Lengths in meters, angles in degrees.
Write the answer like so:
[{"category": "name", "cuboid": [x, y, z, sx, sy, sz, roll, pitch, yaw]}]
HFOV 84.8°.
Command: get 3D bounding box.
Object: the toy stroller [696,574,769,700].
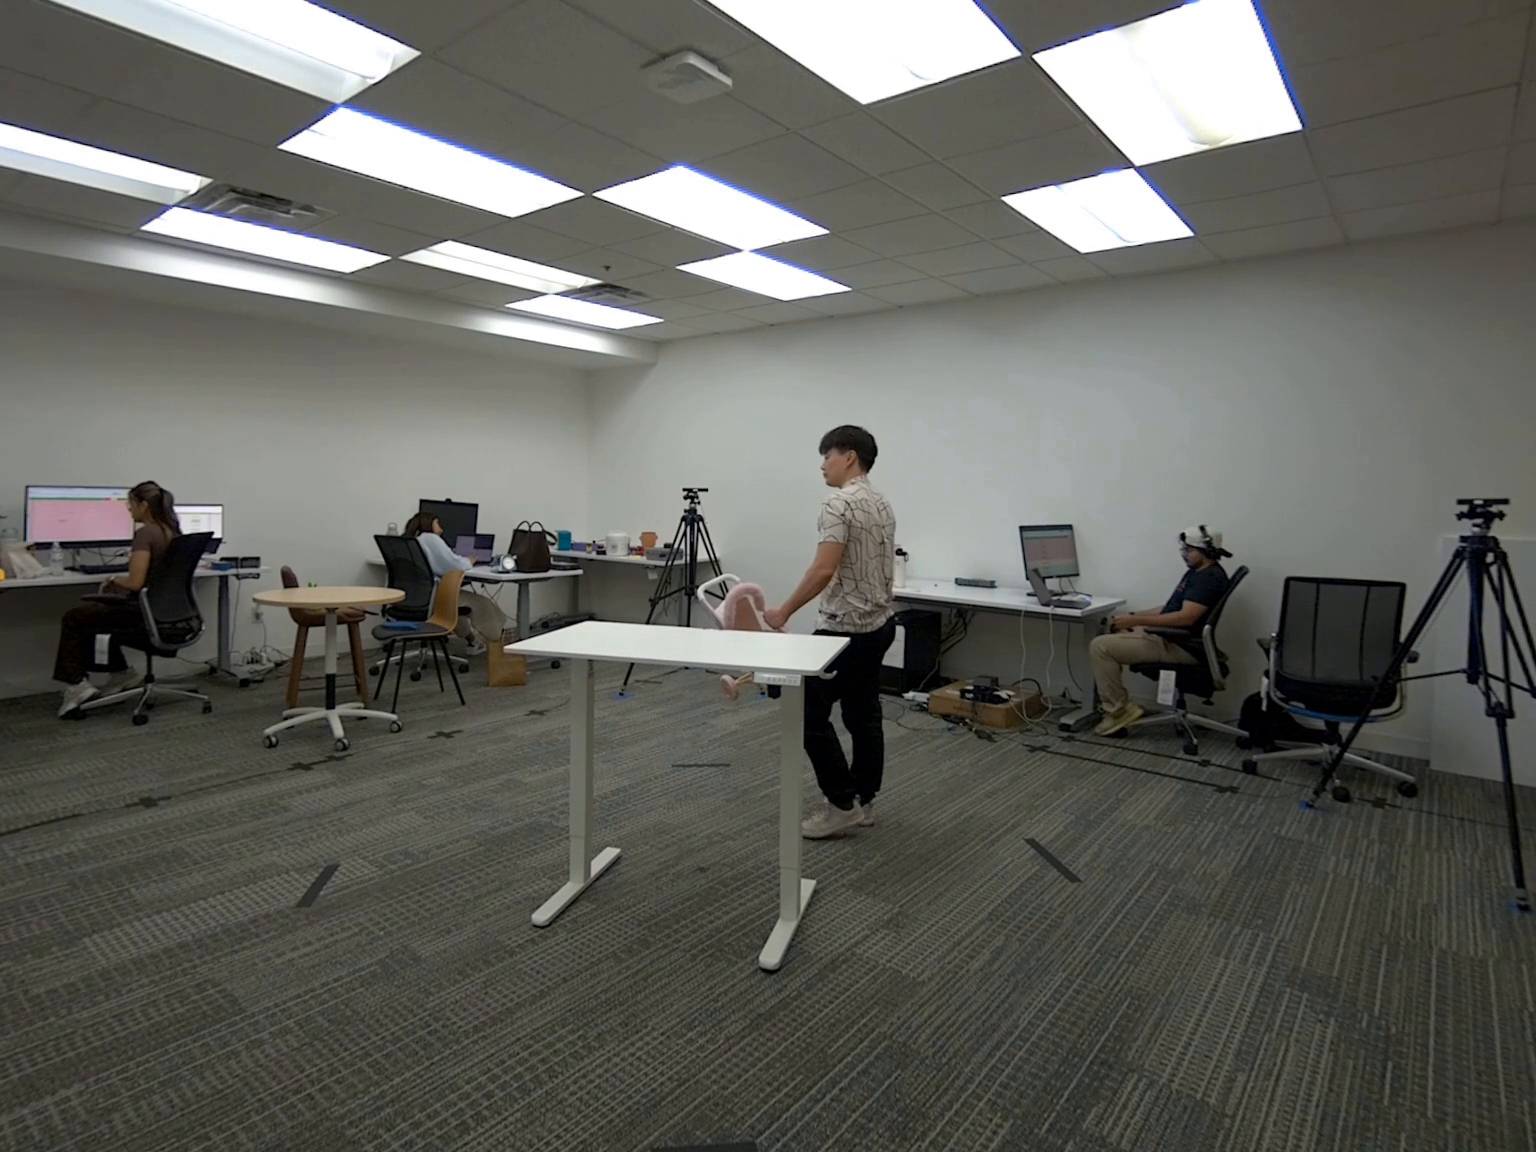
[{"category": "toy stroller", "cuboid": [-0.071, 0.254, 3.397, 0.277, 0.532, 0.349, -21, 6, -29]}]
